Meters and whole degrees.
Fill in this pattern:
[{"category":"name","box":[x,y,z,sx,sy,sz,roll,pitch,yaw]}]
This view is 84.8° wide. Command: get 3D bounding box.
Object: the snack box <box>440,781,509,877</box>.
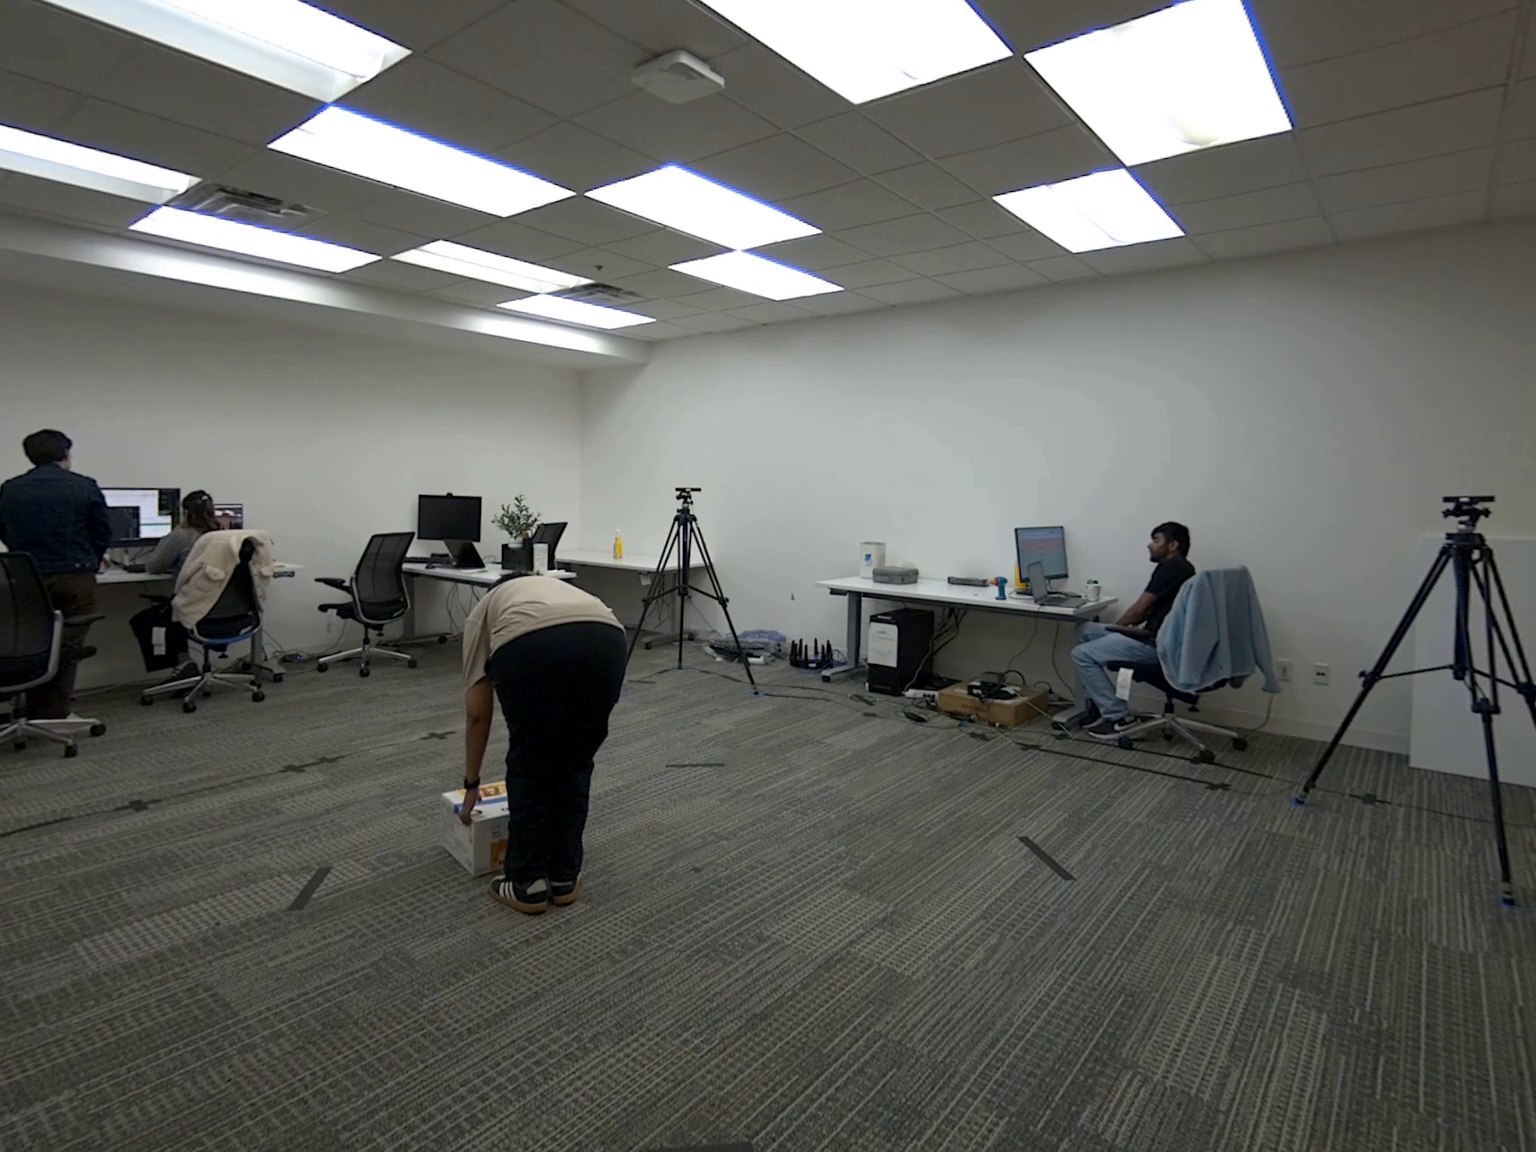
[{"category":"snack box","box":[-1.014,0.940,3.260,0.393,0.205,0.352,-3,6,-40]}]
